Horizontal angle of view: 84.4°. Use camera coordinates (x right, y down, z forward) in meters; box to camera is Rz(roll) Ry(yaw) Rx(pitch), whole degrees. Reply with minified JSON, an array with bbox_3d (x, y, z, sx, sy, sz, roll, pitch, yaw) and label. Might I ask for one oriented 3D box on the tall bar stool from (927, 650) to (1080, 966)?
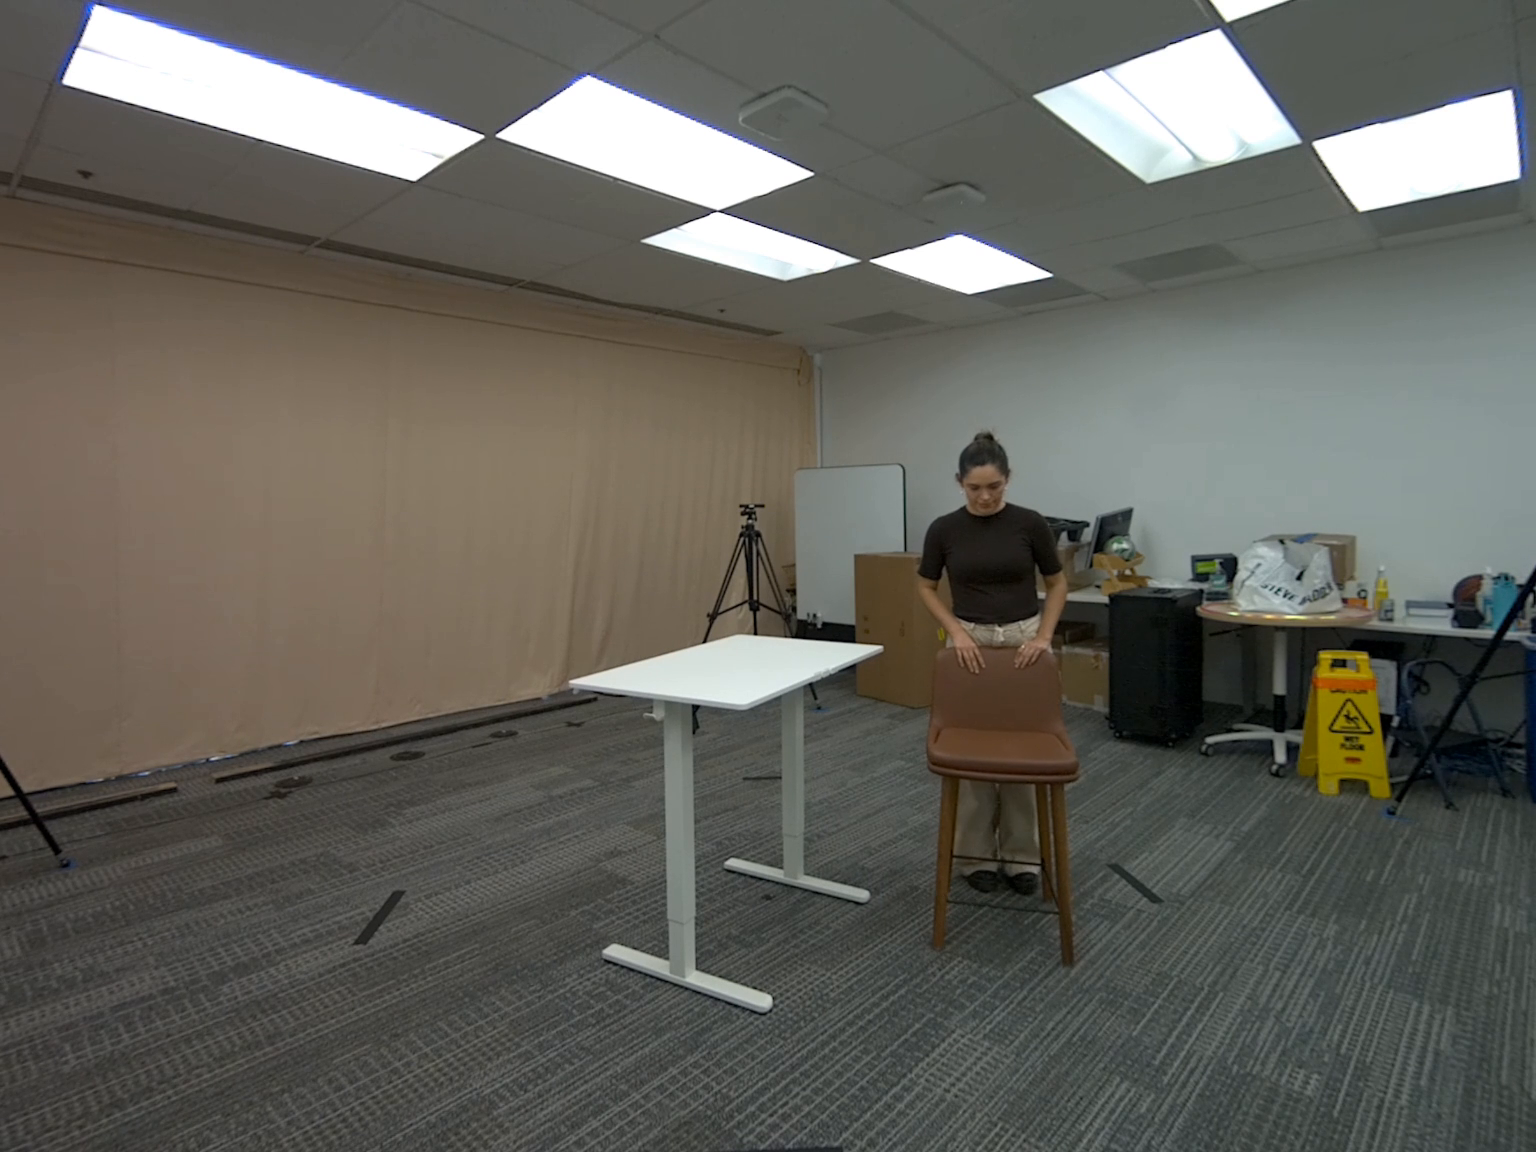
[{"bbox_3d":[0.760,0.707,2.753,0.464,0.889,0.460,1,1,15],"label":"tall bar stool"}]
